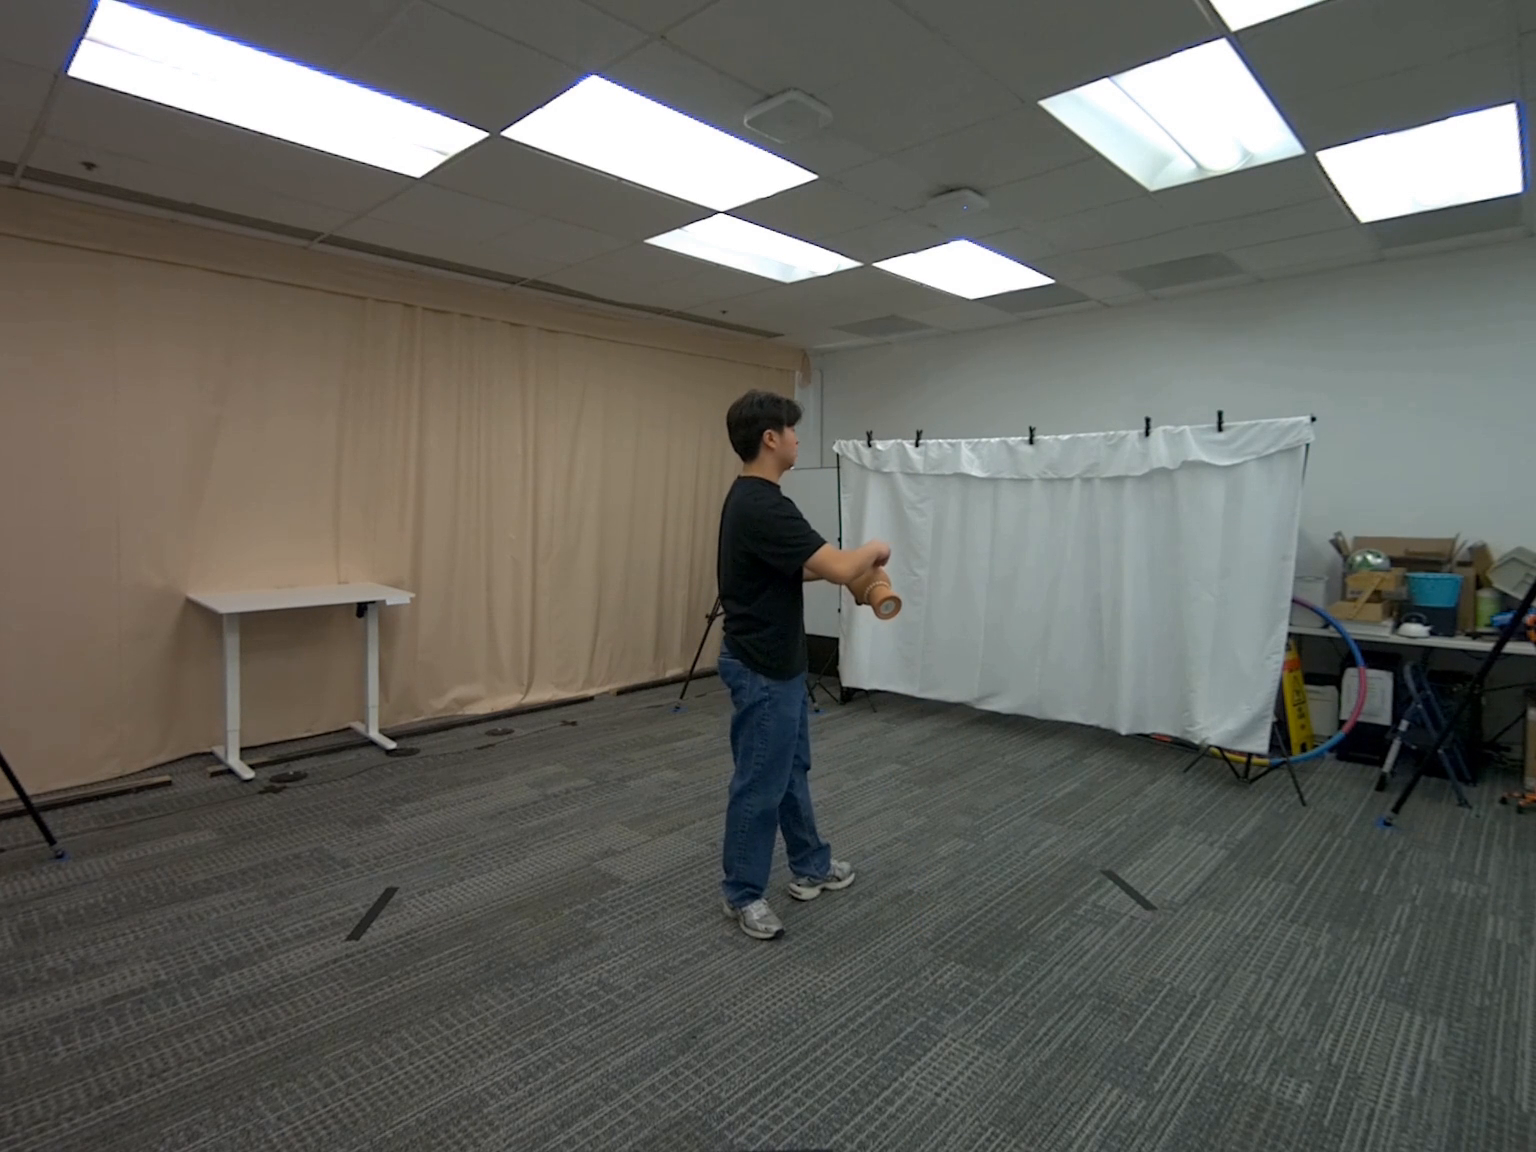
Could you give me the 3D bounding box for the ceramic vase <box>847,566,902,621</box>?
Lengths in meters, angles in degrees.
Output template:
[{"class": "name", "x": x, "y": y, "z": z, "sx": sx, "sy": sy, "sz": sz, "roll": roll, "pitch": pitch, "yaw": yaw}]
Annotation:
[{"class": "ceramic vase", "x": 0.364, "y": 0.048, "z": 2.805, "sx": 0.134, "sy": 0.154, "sz": 0.226, "roll": -28, "pitch": 34, "yaw": -1}]
